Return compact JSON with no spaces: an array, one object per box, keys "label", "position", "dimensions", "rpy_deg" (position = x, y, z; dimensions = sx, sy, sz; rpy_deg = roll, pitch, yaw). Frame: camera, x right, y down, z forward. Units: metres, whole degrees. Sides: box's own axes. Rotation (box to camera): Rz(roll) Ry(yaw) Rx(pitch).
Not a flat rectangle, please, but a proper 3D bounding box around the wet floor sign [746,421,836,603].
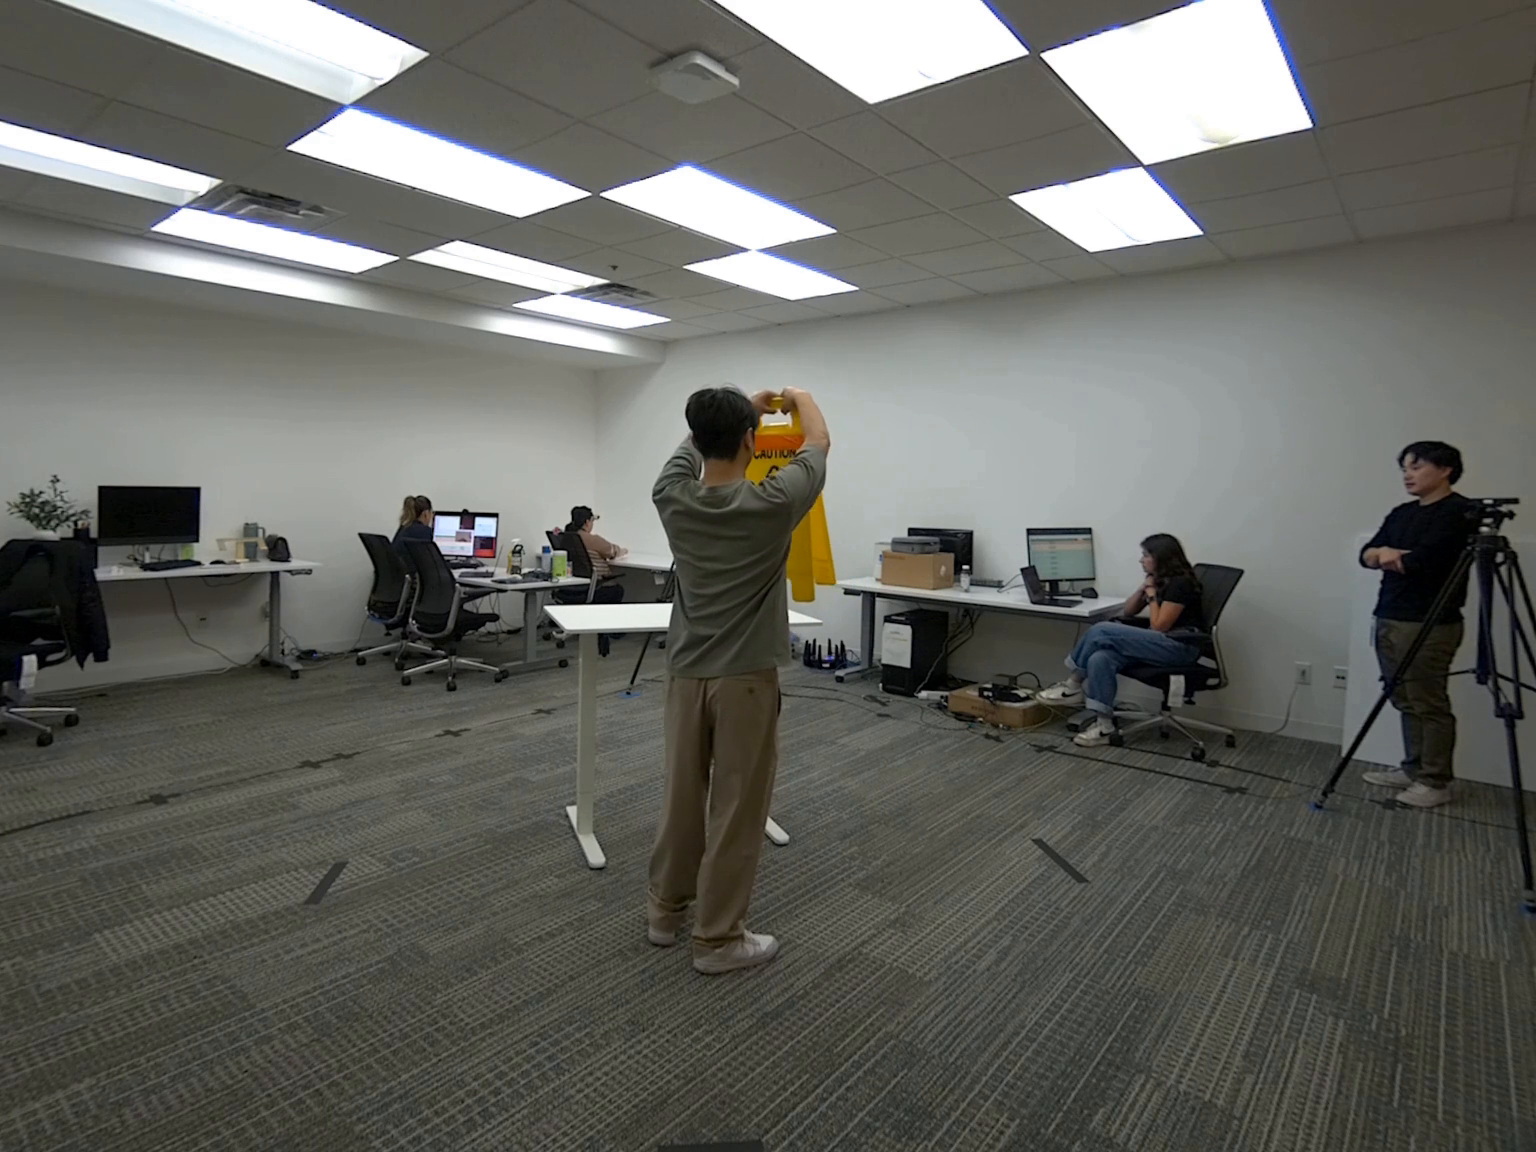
[{"label":"wet floor sign","position":[0.032,-0.266,2.844],"dimensions":[0.289,0.640,0.285],"rpy_deg":[1,10,24]}]
